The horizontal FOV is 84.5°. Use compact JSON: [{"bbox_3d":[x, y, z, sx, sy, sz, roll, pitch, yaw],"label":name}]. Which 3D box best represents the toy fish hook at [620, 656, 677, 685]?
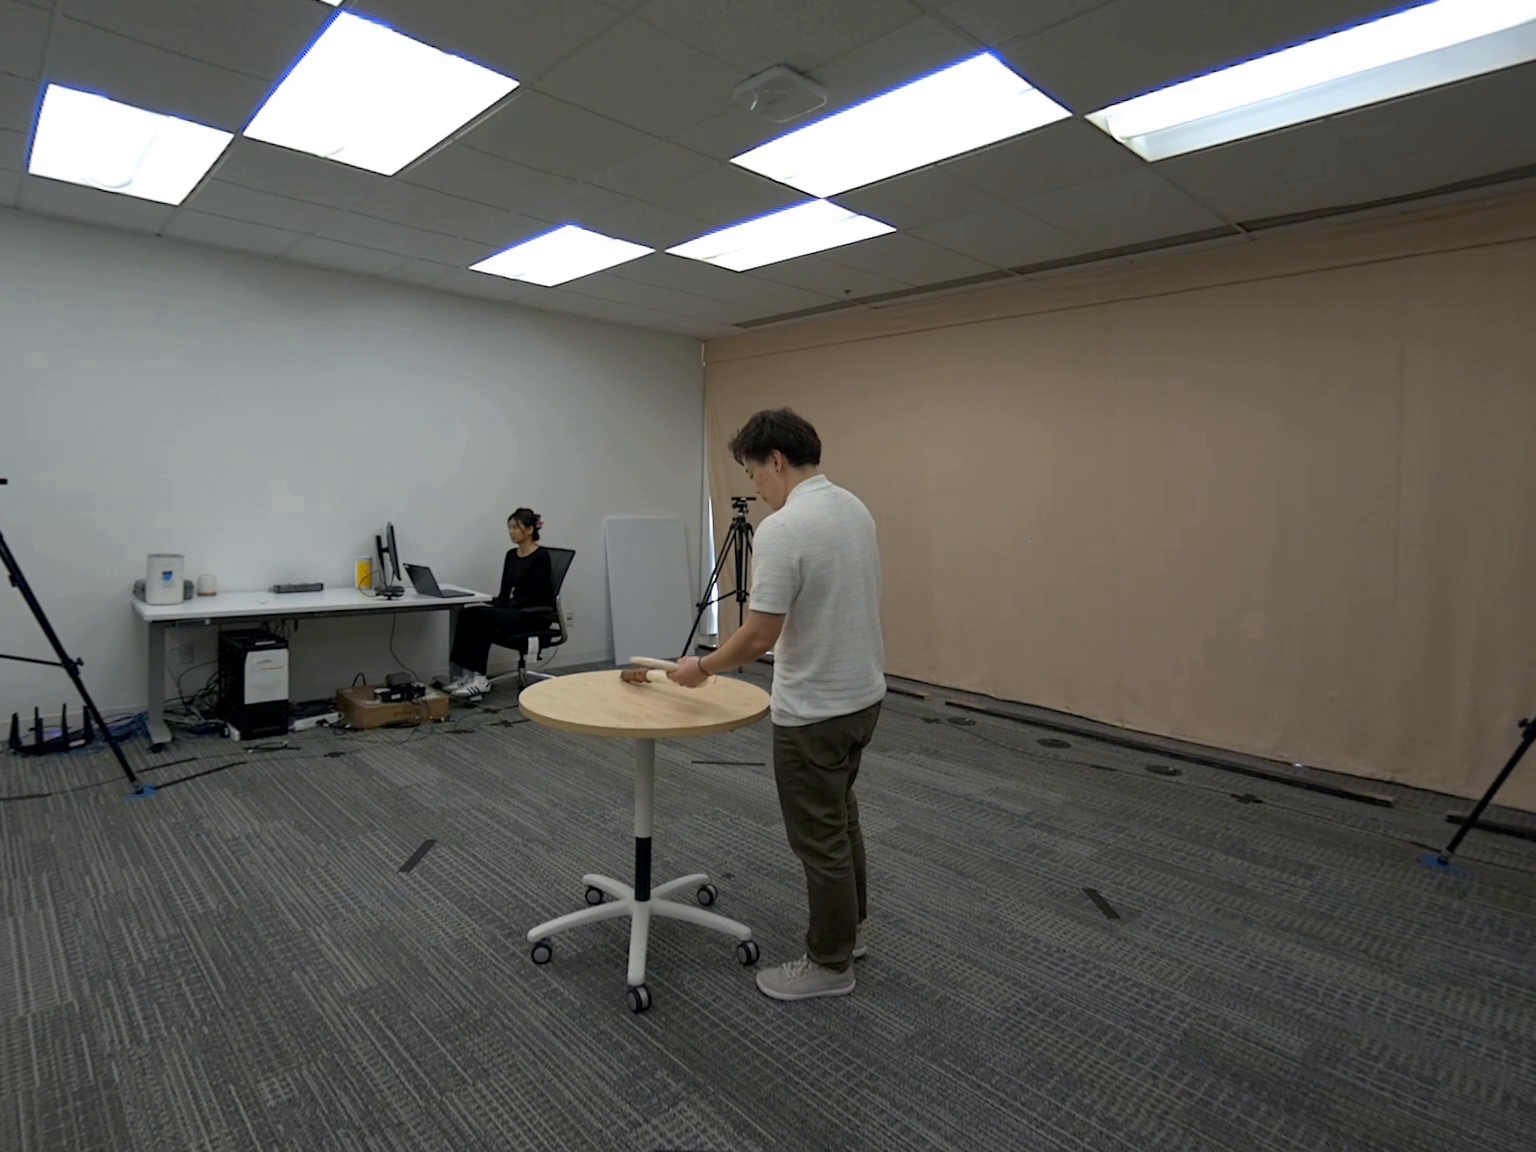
[{"bbox_3d":[-0.389,0.292,2.569,0.219,0.048,0.516,34,-22,-28],"label":"toy fish hook"}]
